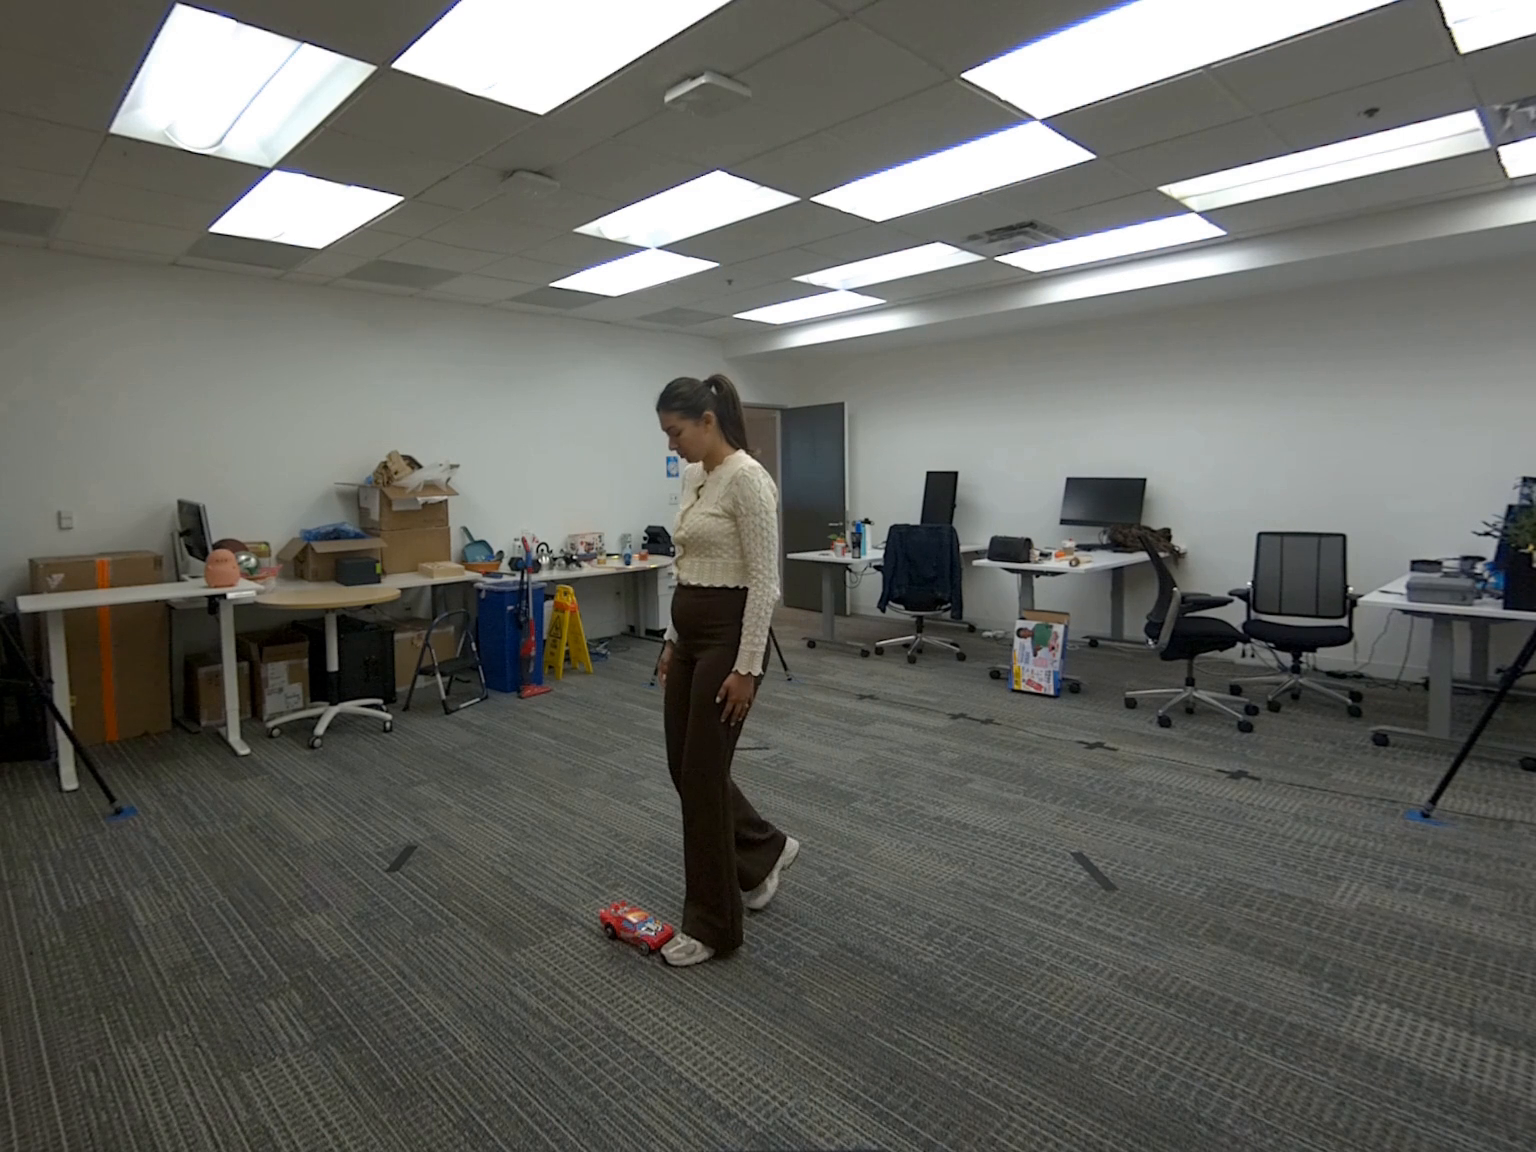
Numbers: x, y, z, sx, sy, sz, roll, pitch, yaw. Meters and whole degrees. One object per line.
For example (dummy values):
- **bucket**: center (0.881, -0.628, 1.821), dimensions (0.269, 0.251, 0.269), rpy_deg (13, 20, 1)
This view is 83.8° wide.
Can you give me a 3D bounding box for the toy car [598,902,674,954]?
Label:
- **toy car**: center (-0.407, 1.079, 2.618), dimensions (0.263, 0.082, 0.127), rpy_deg (17, 17, 36)
